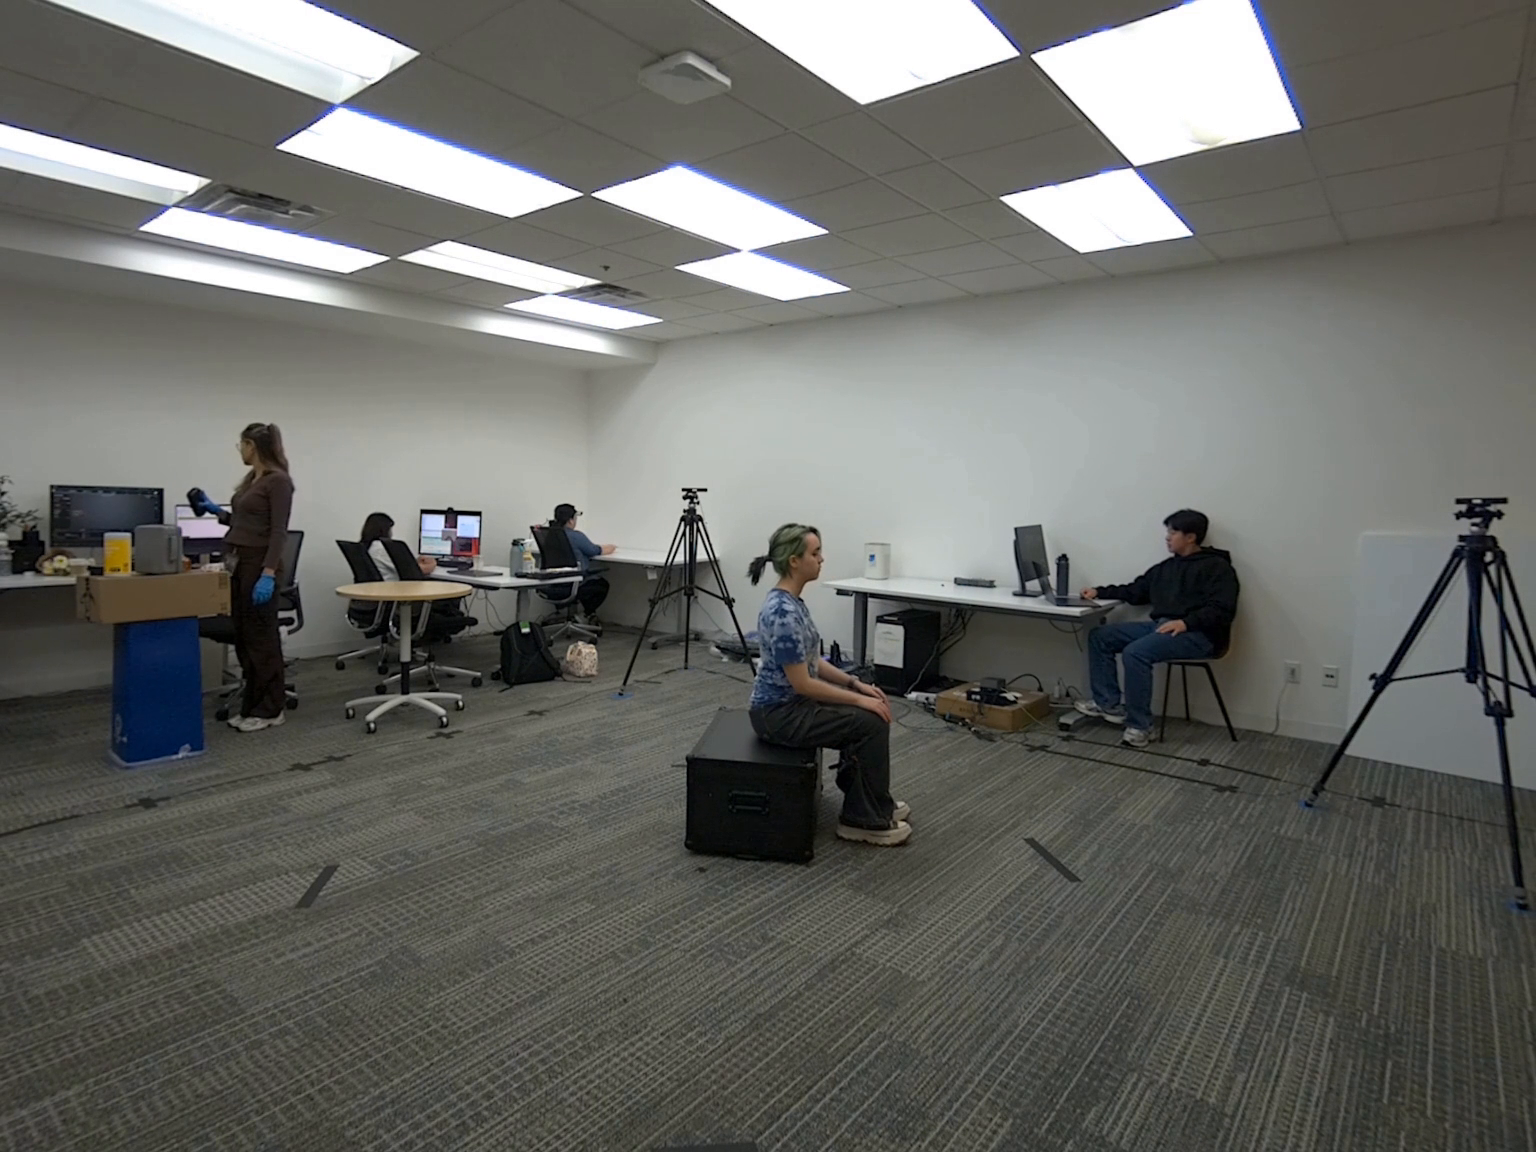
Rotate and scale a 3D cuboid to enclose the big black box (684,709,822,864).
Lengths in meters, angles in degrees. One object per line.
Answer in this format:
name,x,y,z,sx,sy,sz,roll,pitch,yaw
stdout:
big black box,-0.037,0.835,3.587,0.526,0.395,0.857,1,5,7
